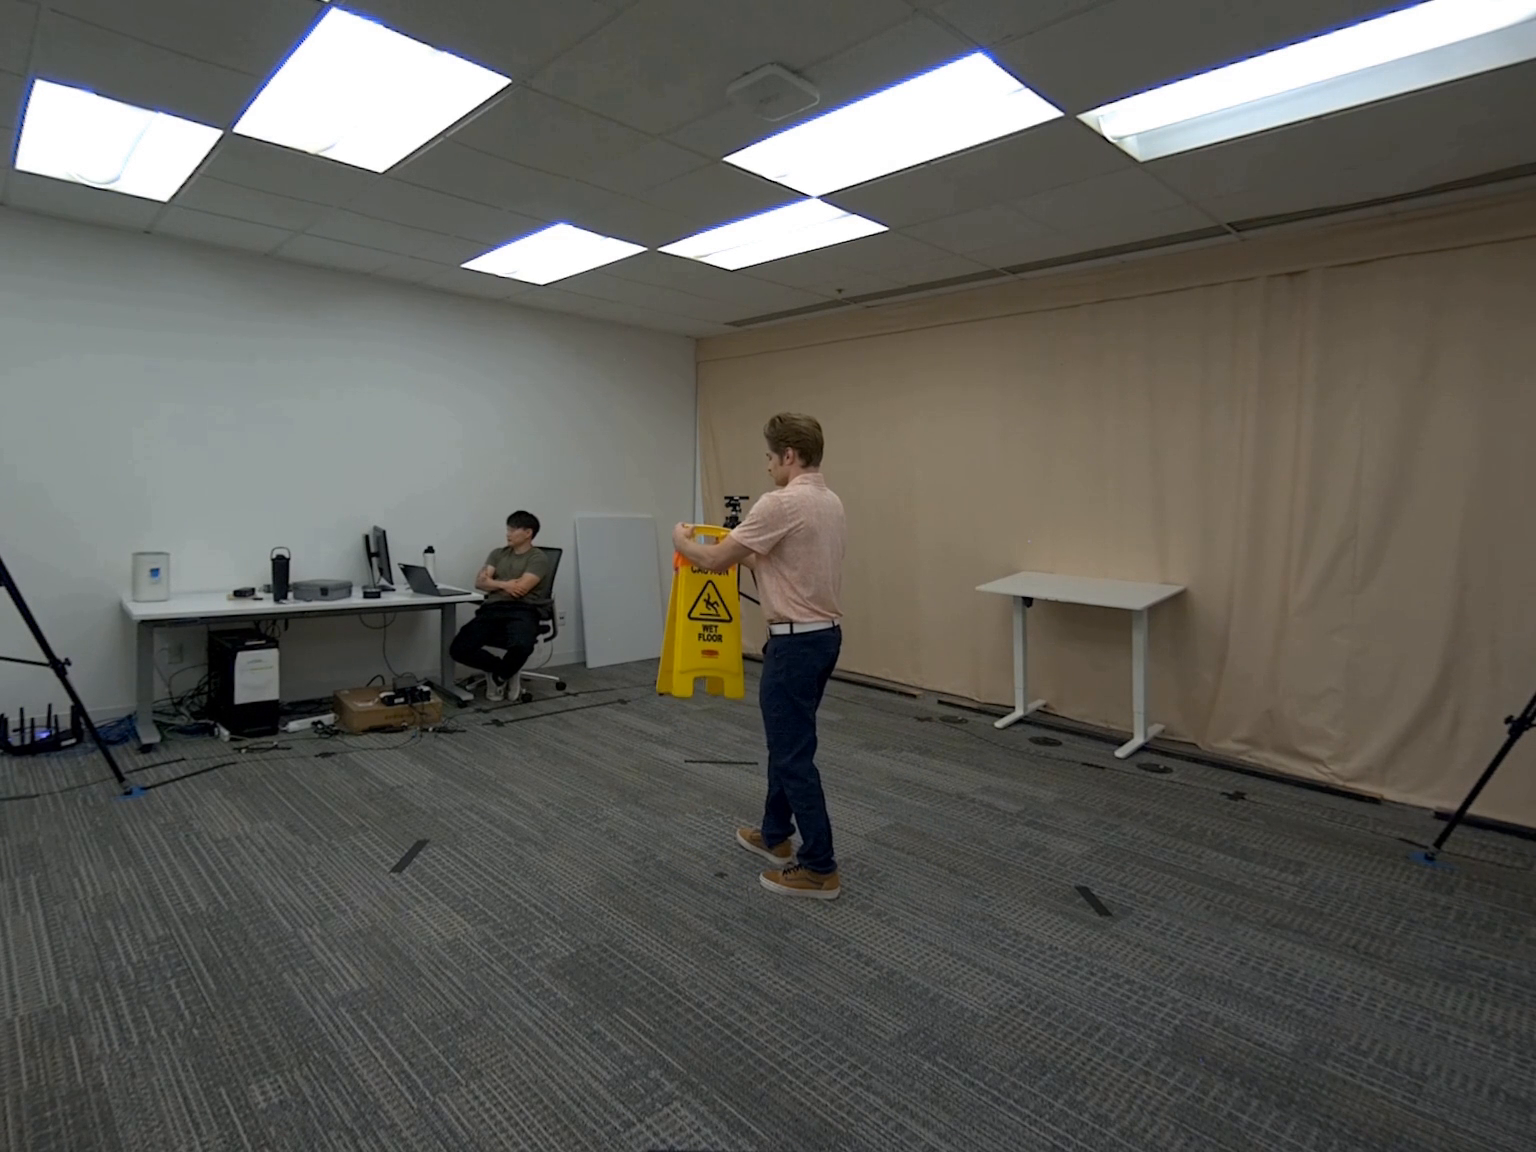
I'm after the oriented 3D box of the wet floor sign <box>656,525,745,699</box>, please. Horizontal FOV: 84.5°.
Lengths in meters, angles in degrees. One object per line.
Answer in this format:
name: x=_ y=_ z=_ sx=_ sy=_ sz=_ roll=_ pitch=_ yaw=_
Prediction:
wet floor sign: x=-0.248 y=0.131 z=3.242 sx=0.277 sy=0.649 sz=0.293 roll=5 pitch=-8 yaw=-21
